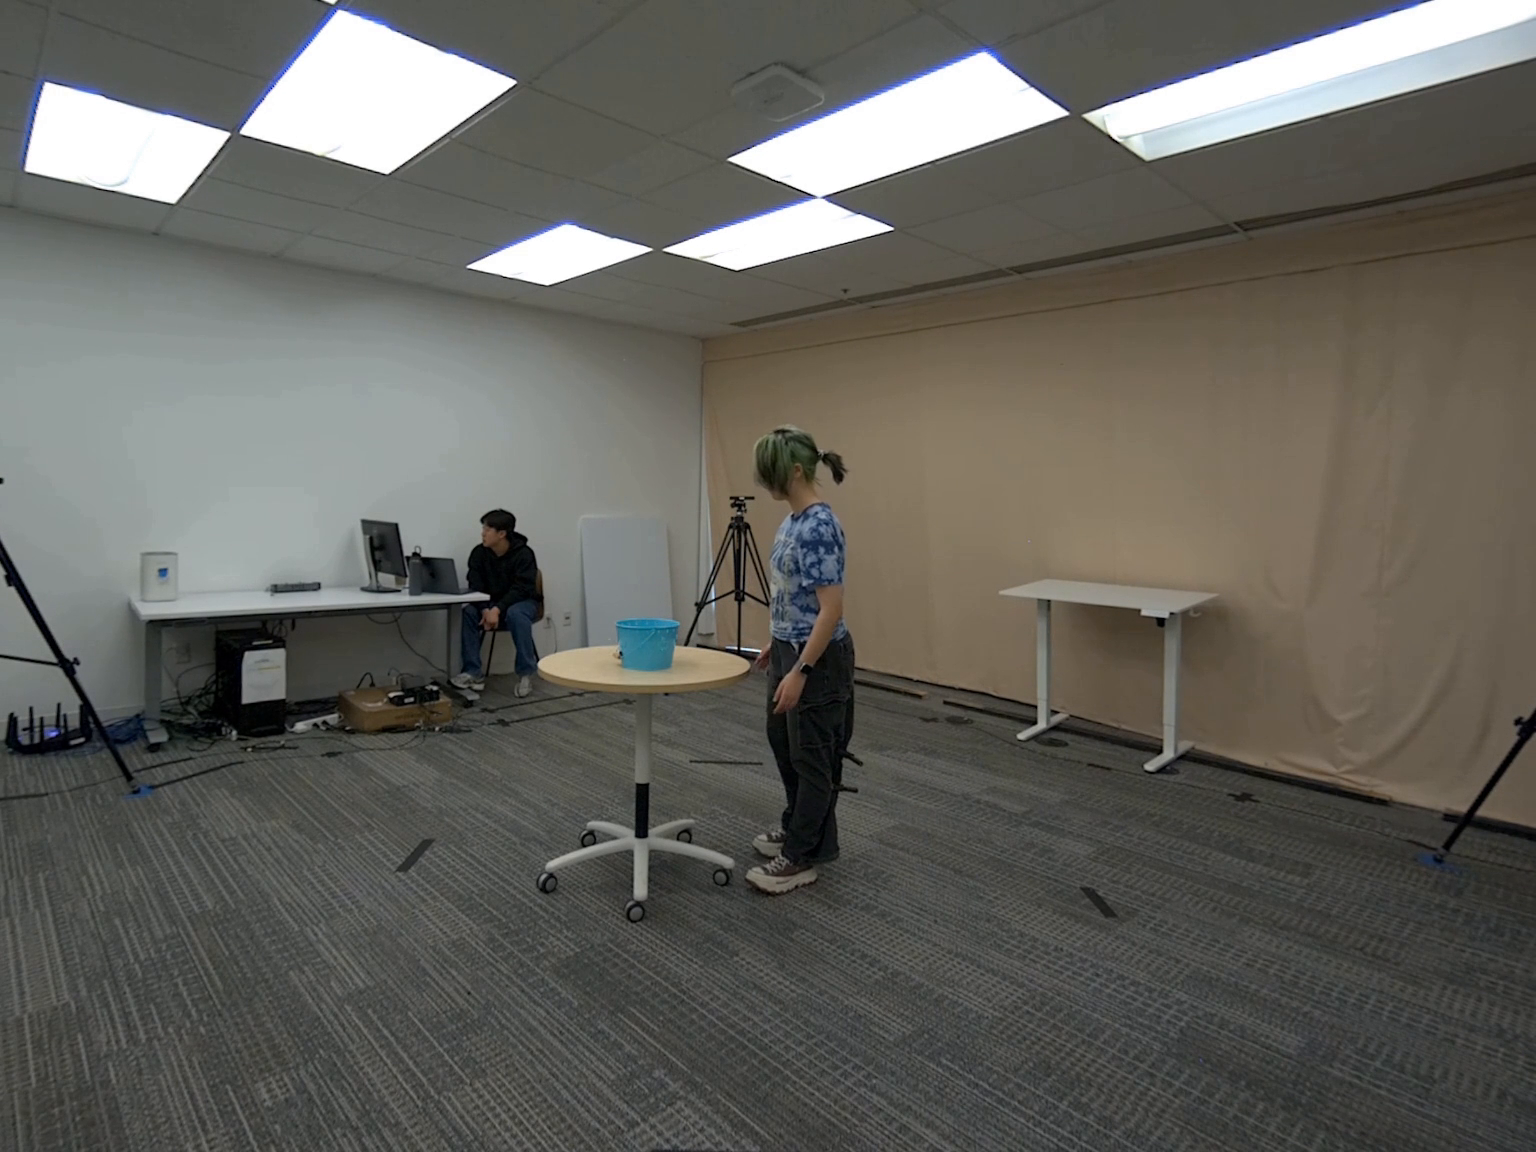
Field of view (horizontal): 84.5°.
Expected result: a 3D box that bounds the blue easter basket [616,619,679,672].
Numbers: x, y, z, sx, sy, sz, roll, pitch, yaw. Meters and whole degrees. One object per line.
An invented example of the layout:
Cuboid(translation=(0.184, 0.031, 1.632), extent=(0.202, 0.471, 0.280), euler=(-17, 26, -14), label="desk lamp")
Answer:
Cuboid(translation=(-0.435, 0.247, 3.007), extent=(0.243, 0.155, 0.244), euler=(4, 4, -2), label="blue easter basket")
